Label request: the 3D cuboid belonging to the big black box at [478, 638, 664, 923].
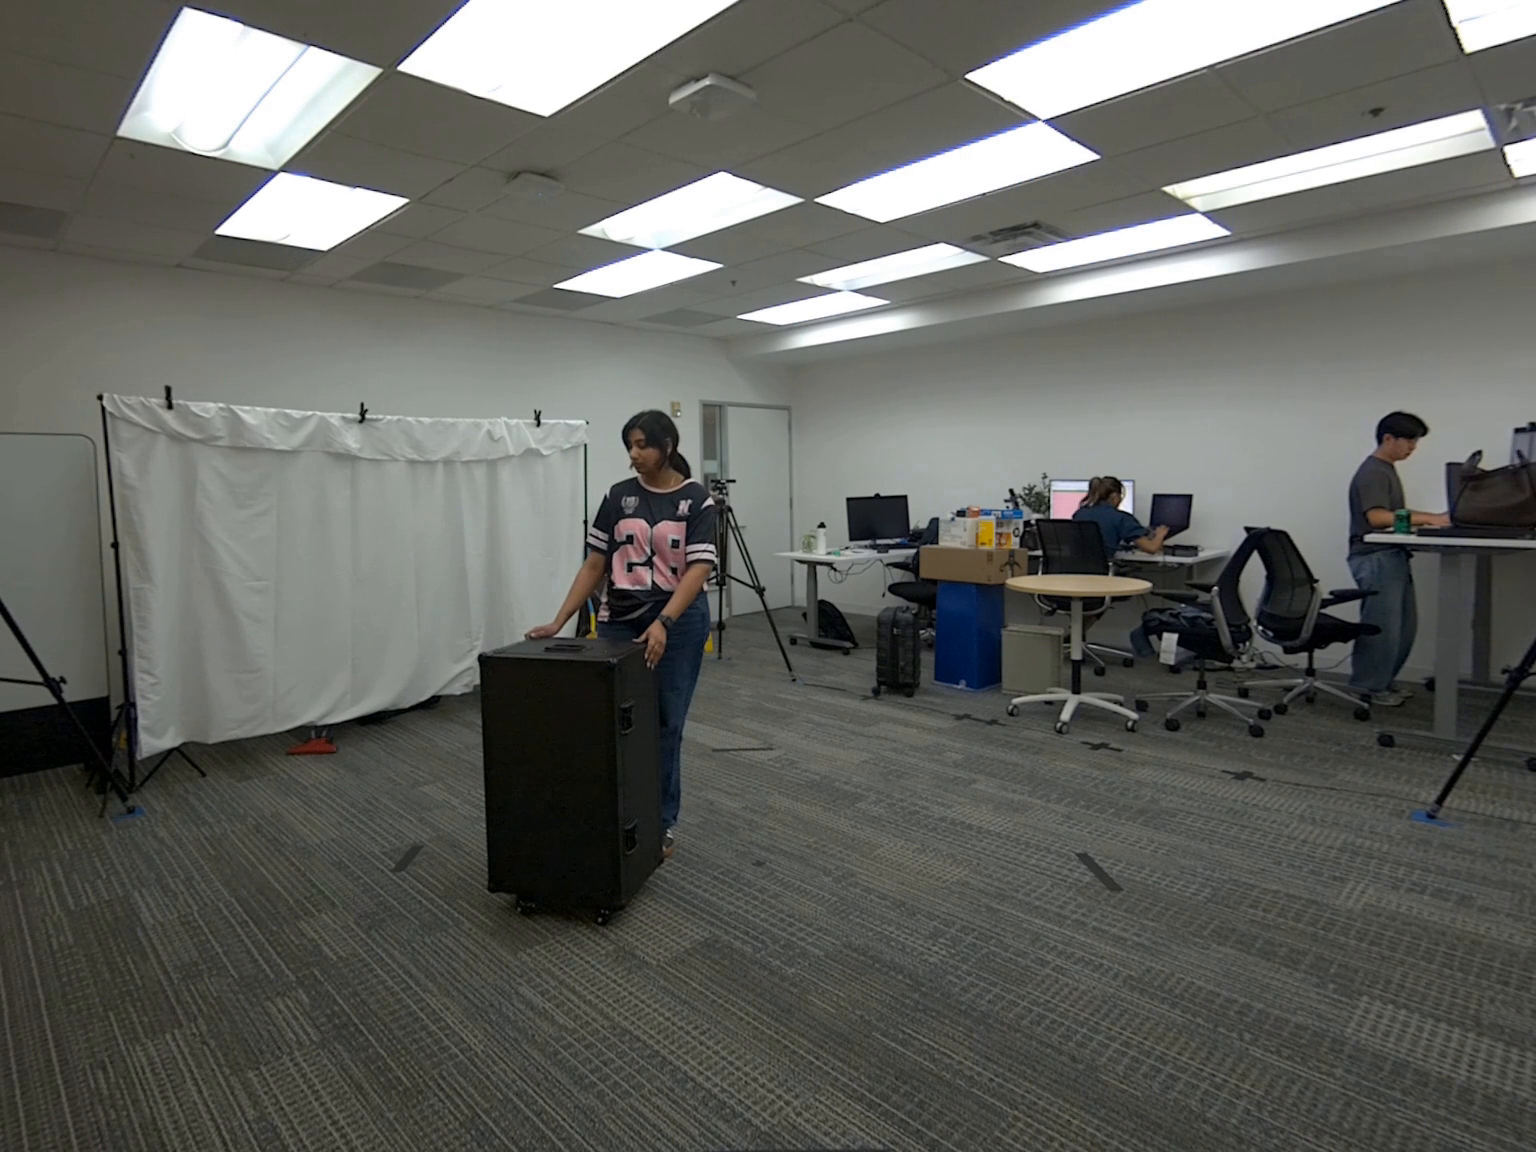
[{"bbox_3d":[-0.655,0.665,2.870,0.532,0.866,0.380,1,4,16],"label":"big black box"}]
